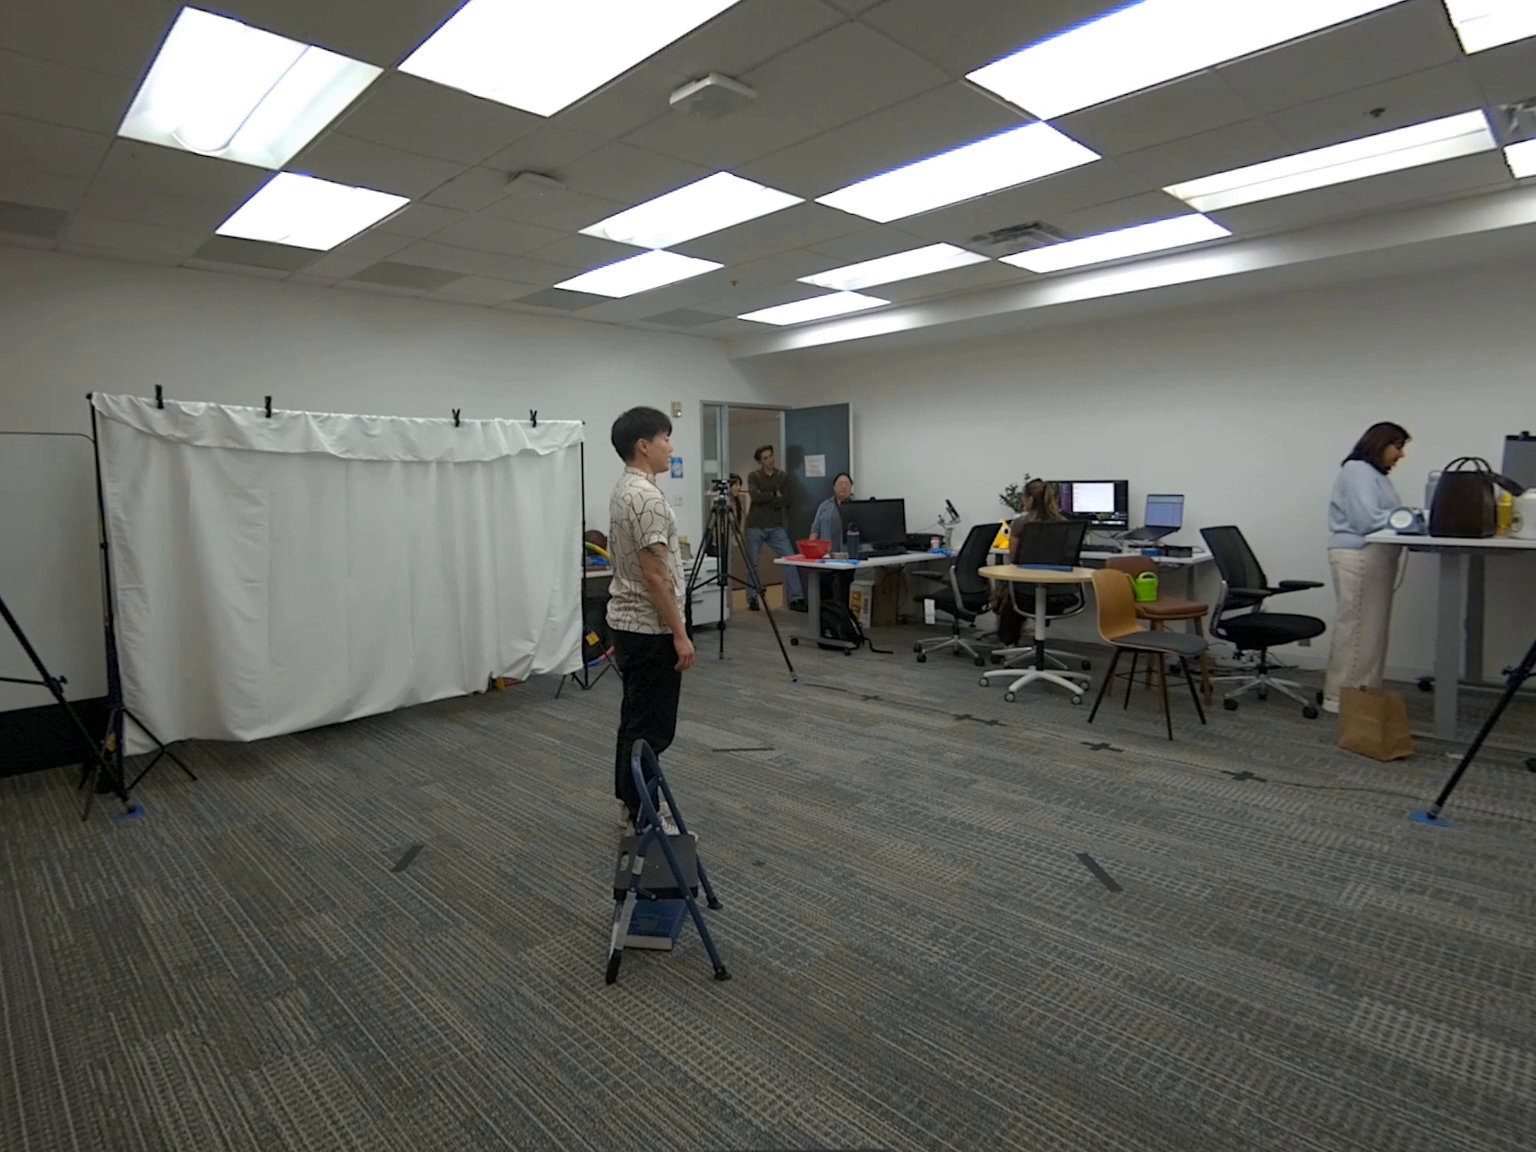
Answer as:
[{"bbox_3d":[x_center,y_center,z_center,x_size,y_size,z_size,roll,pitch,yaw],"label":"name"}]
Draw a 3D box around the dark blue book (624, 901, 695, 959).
[{"bbox_3d":[-0.333,1.093,2.657,0.165,0.045,0.244,-3,6,7],"label":"dark blue book"}]
